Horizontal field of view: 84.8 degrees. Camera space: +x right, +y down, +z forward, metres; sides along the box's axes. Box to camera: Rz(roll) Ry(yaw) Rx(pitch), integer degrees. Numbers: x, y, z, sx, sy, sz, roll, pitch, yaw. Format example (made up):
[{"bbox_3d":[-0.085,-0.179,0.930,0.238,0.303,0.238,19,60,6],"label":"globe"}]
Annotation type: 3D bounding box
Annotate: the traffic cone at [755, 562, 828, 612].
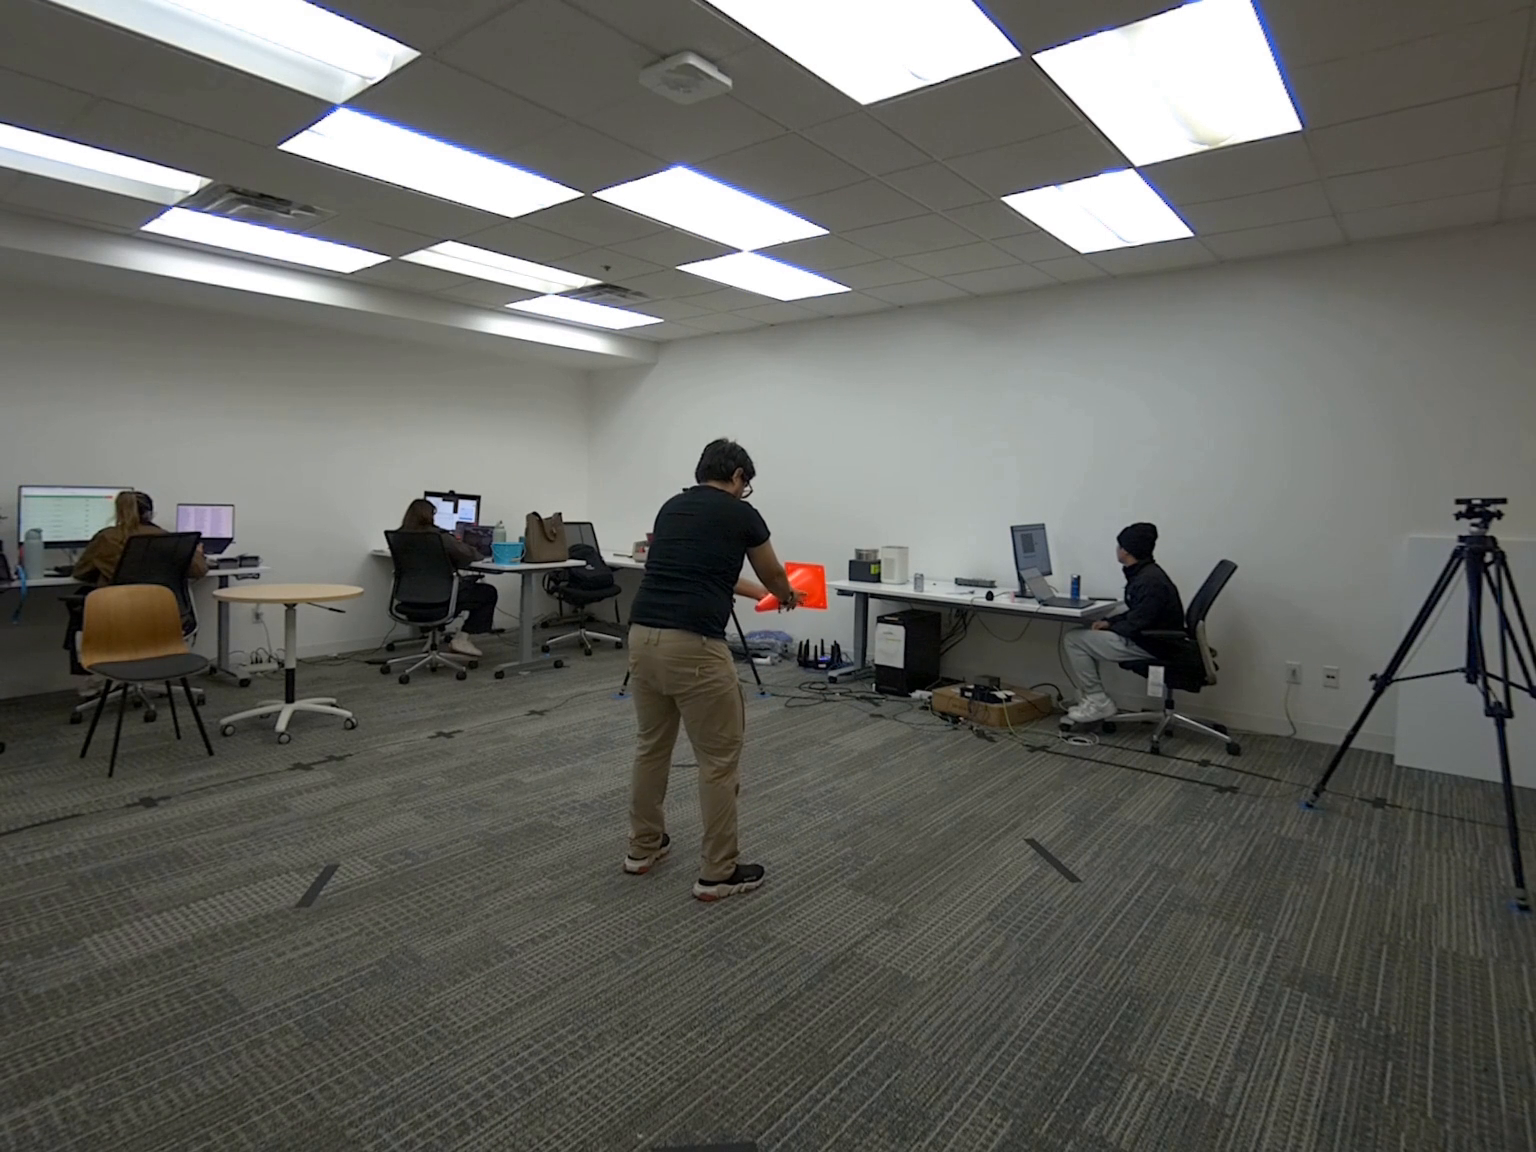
[{"bbox_3d":[0.044,0.101,3.487,0.211,0.201,0.376,5,15,34],"label":"traffic cone"}]
